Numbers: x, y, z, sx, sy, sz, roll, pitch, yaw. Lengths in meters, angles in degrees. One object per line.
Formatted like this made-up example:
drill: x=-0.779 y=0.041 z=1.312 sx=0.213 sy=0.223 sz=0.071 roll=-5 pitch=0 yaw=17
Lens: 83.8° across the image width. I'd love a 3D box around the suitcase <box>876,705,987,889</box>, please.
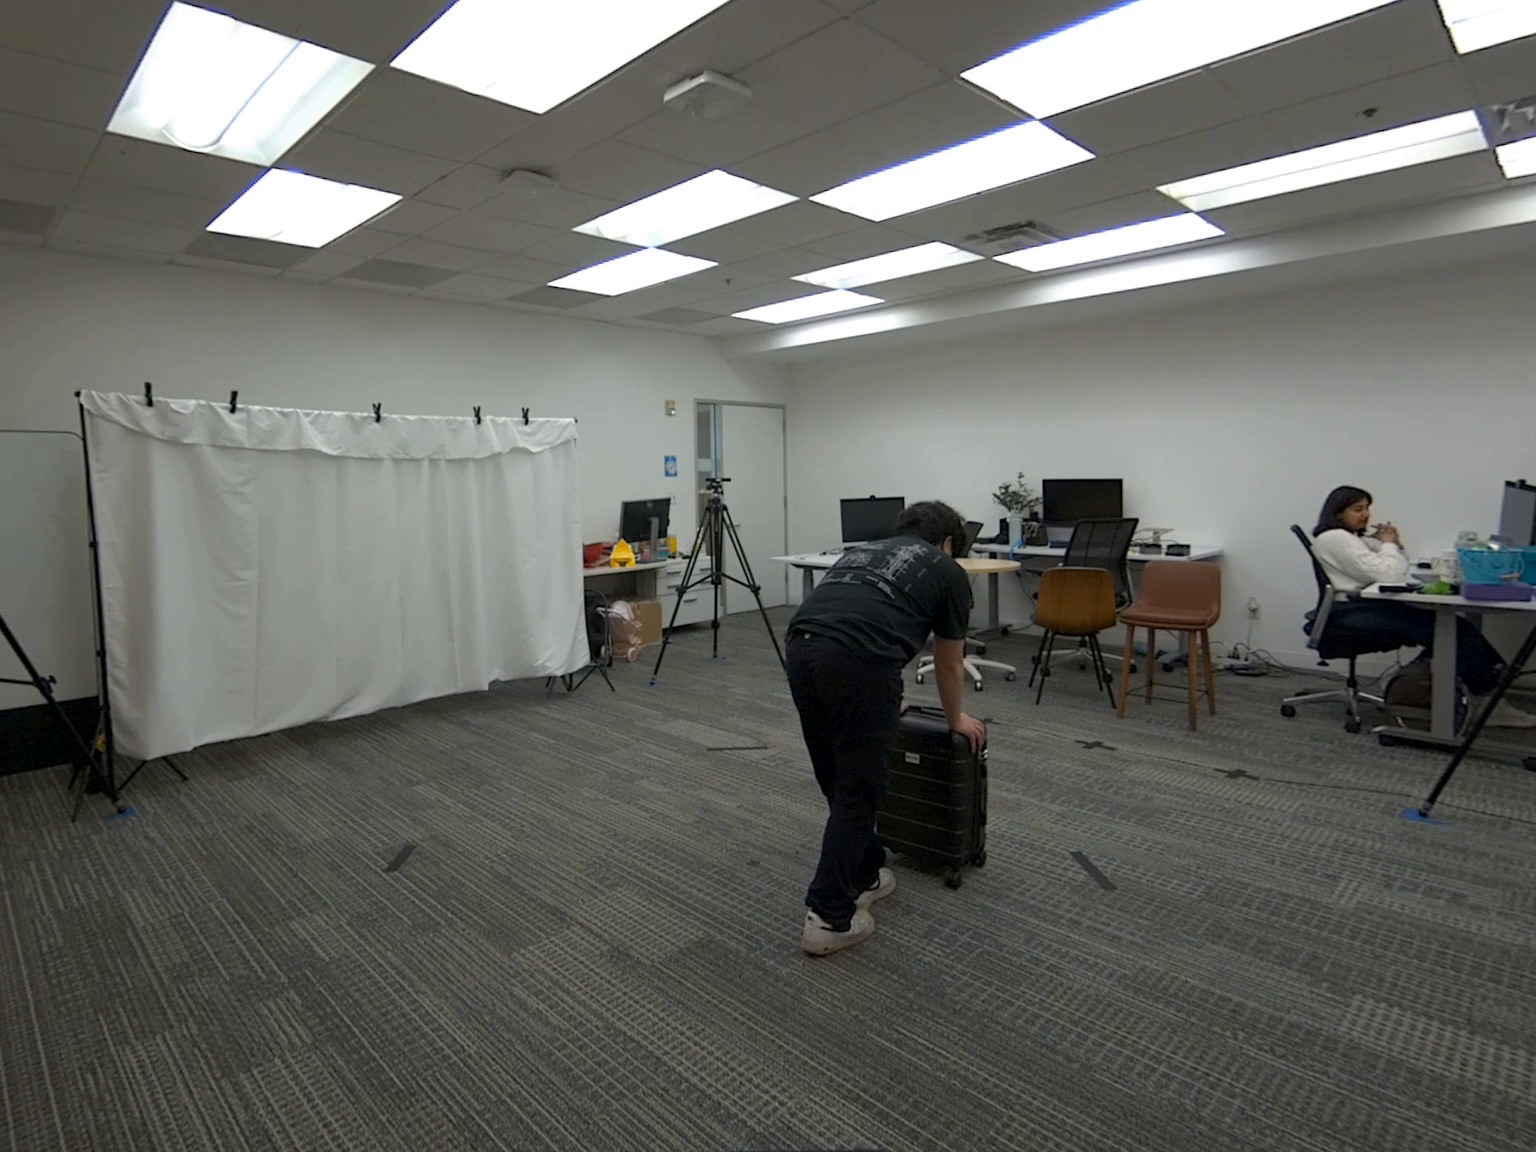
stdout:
suitcase: x=0.598 y=0.763 z=3.081 sx=0.386 sy=0.548 sz=0.241 roll=3 pitch=3 yaw=39
